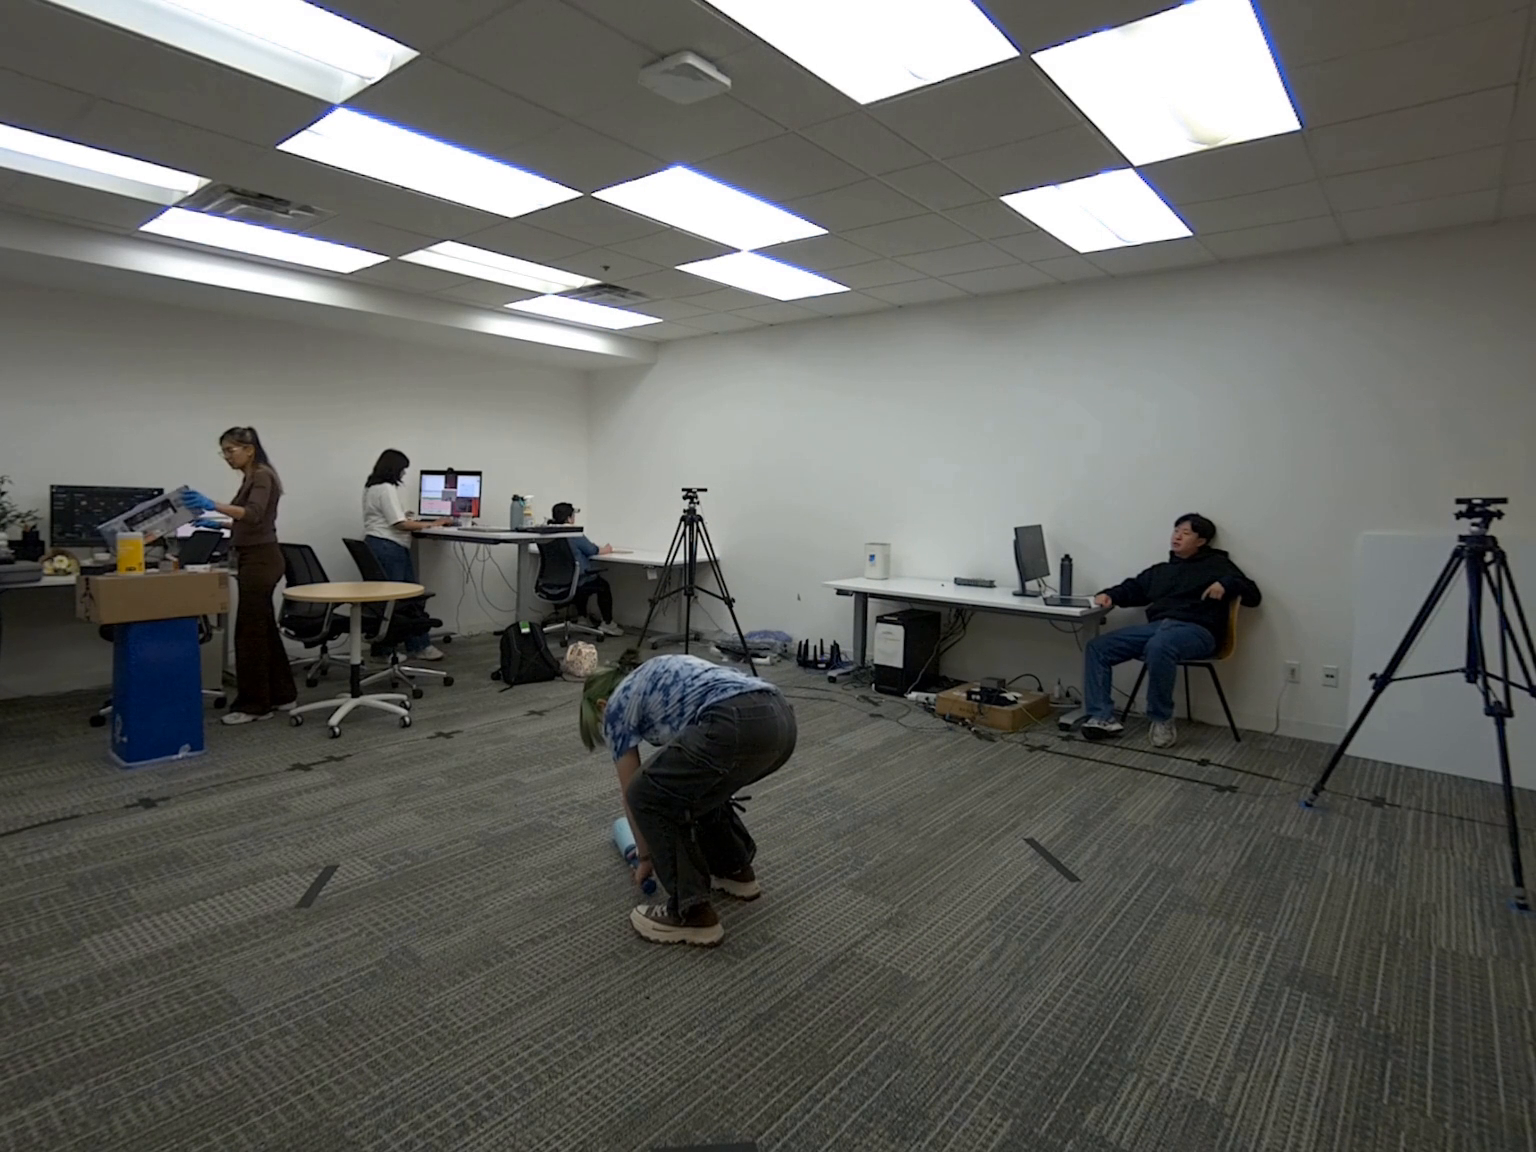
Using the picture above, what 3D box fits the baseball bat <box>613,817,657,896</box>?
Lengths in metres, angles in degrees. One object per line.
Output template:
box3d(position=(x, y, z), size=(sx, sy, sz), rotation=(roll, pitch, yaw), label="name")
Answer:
box3d(position=(-0.500, 1.018, 3.110), size=(0.087, 0.088, 0.555), rotation=(0, 6, -17), label="baseball bat")
